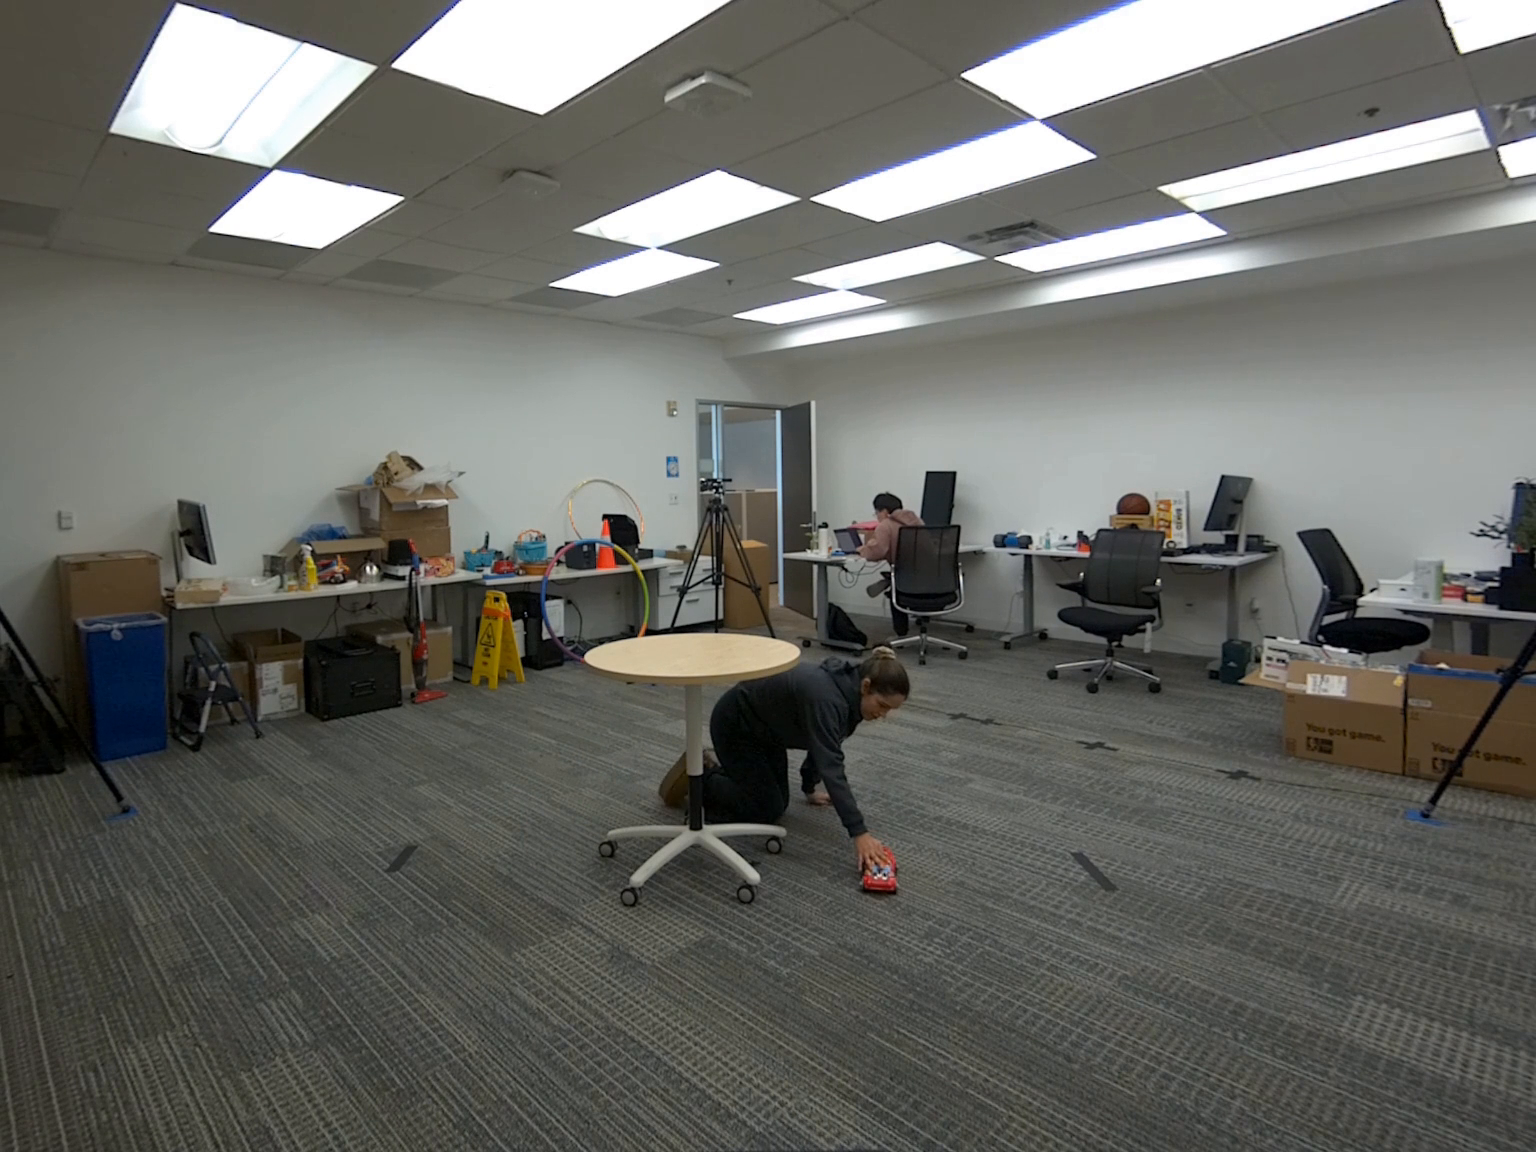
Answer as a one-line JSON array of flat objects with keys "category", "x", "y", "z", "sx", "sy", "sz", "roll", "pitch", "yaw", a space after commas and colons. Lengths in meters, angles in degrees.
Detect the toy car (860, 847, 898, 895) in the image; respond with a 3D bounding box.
[{"category": "toy car", "x": 0.392, "y": 1.025, "z": 2.954, "sx": 0.131, "sy": 0.082, "sz": 0.256, "roll": -2, "pitch": 18, "yaw": 8}]
